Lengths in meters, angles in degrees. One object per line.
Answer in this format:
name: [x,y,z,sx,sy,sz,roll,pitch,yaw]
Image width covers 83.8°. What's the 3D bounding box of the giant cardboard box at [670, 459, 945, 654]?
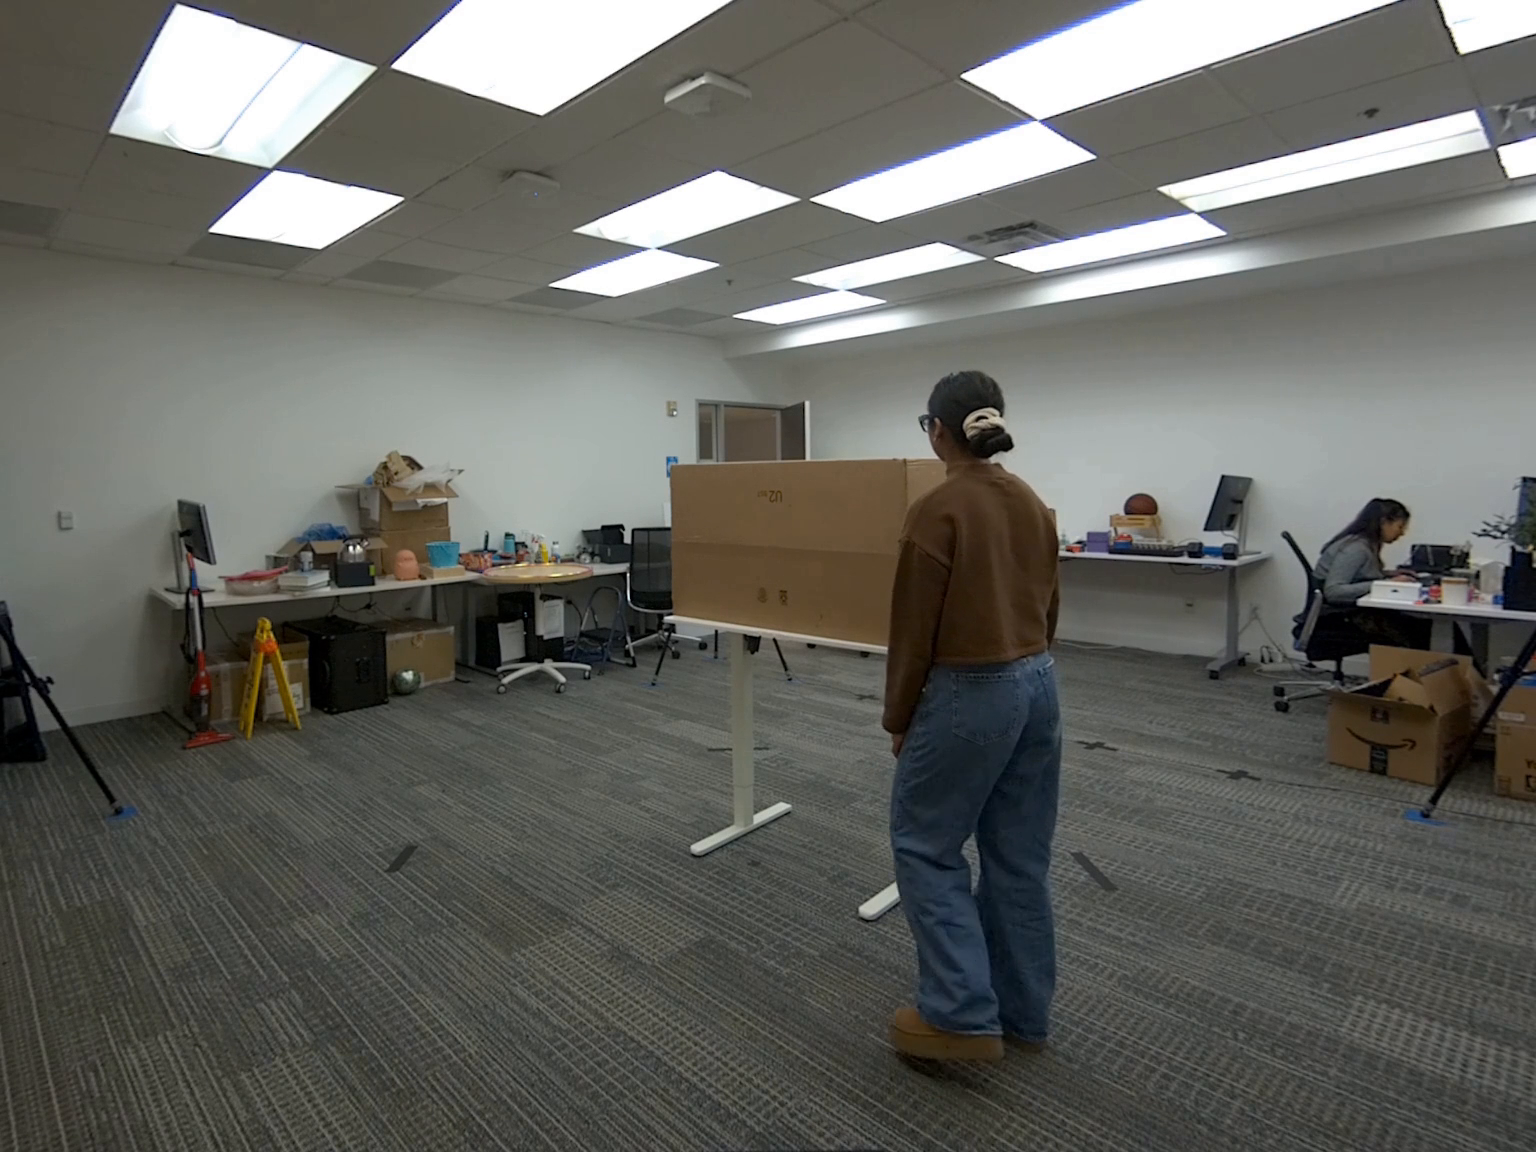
giant cardboard box: [0.163,-0.116,3.028,1.058,0.574,0.415,5,8,42]
